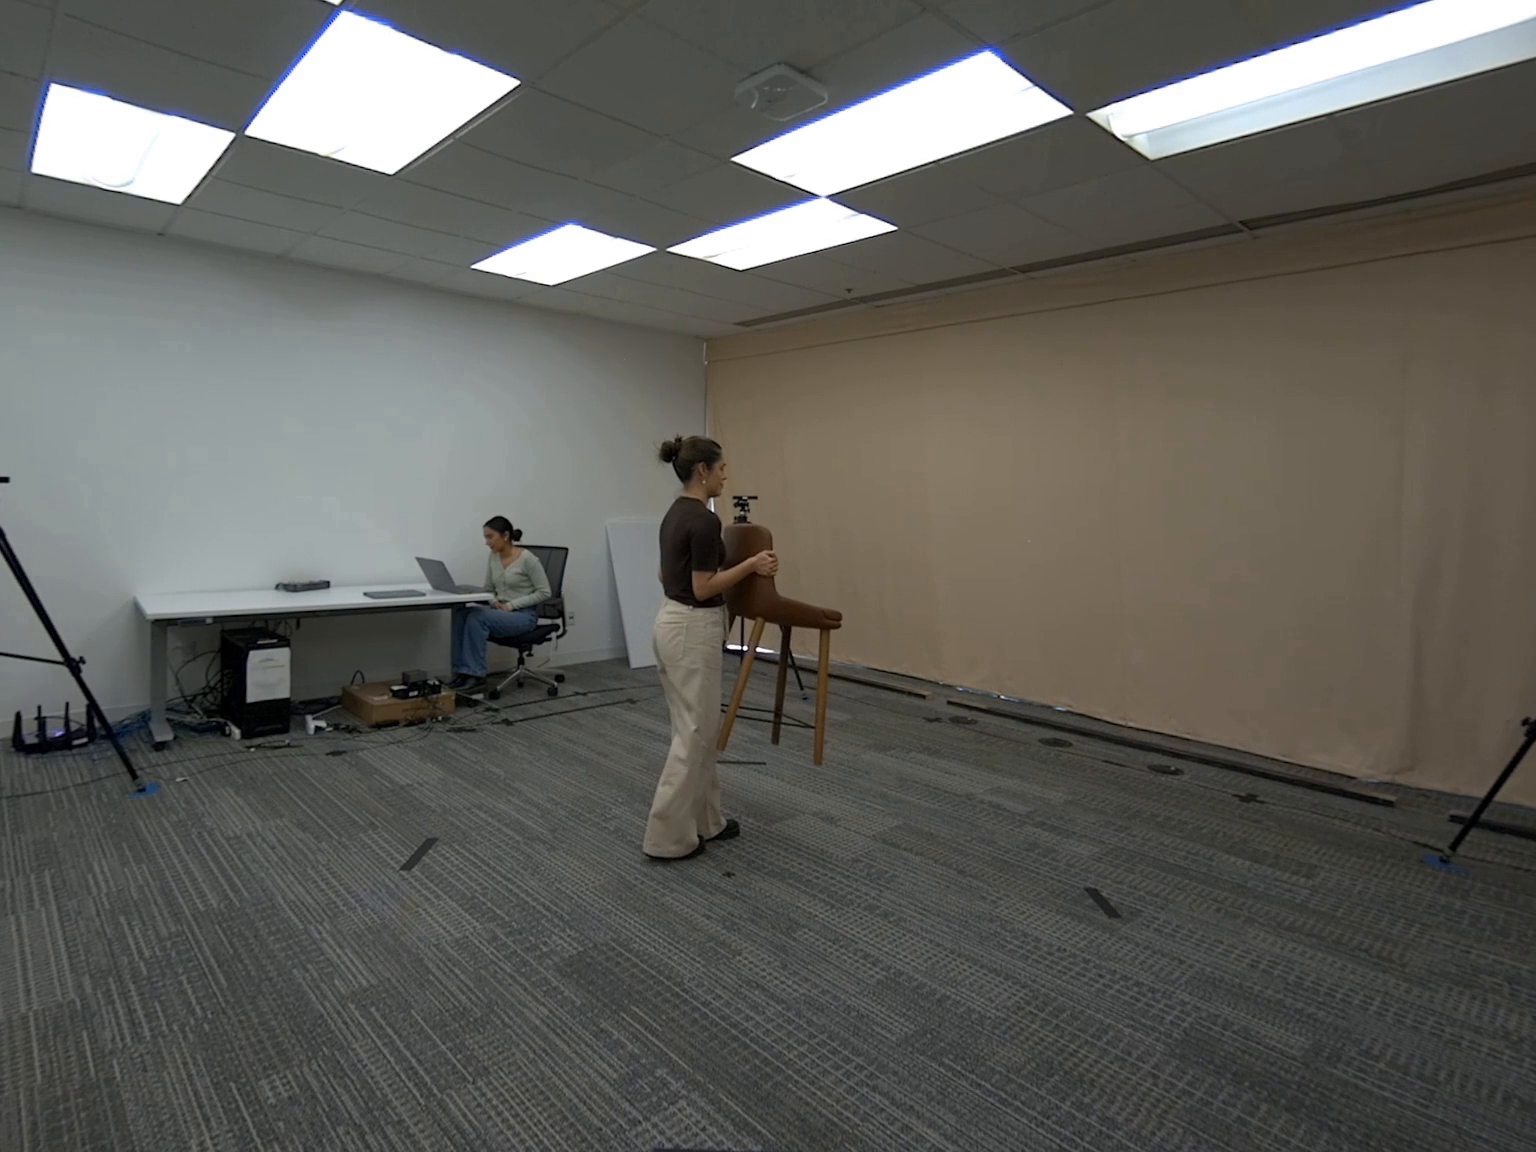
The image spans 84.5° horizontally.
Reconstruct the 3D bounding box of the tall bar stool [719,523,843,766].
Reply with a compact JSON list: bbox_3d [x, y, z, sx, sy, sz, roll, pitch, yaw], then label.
[{"bbox_3d":[-0.001,0.271,3.441,0.458,0.892,0.465,12,-5,-25],"label":"tall bar stool"}]
